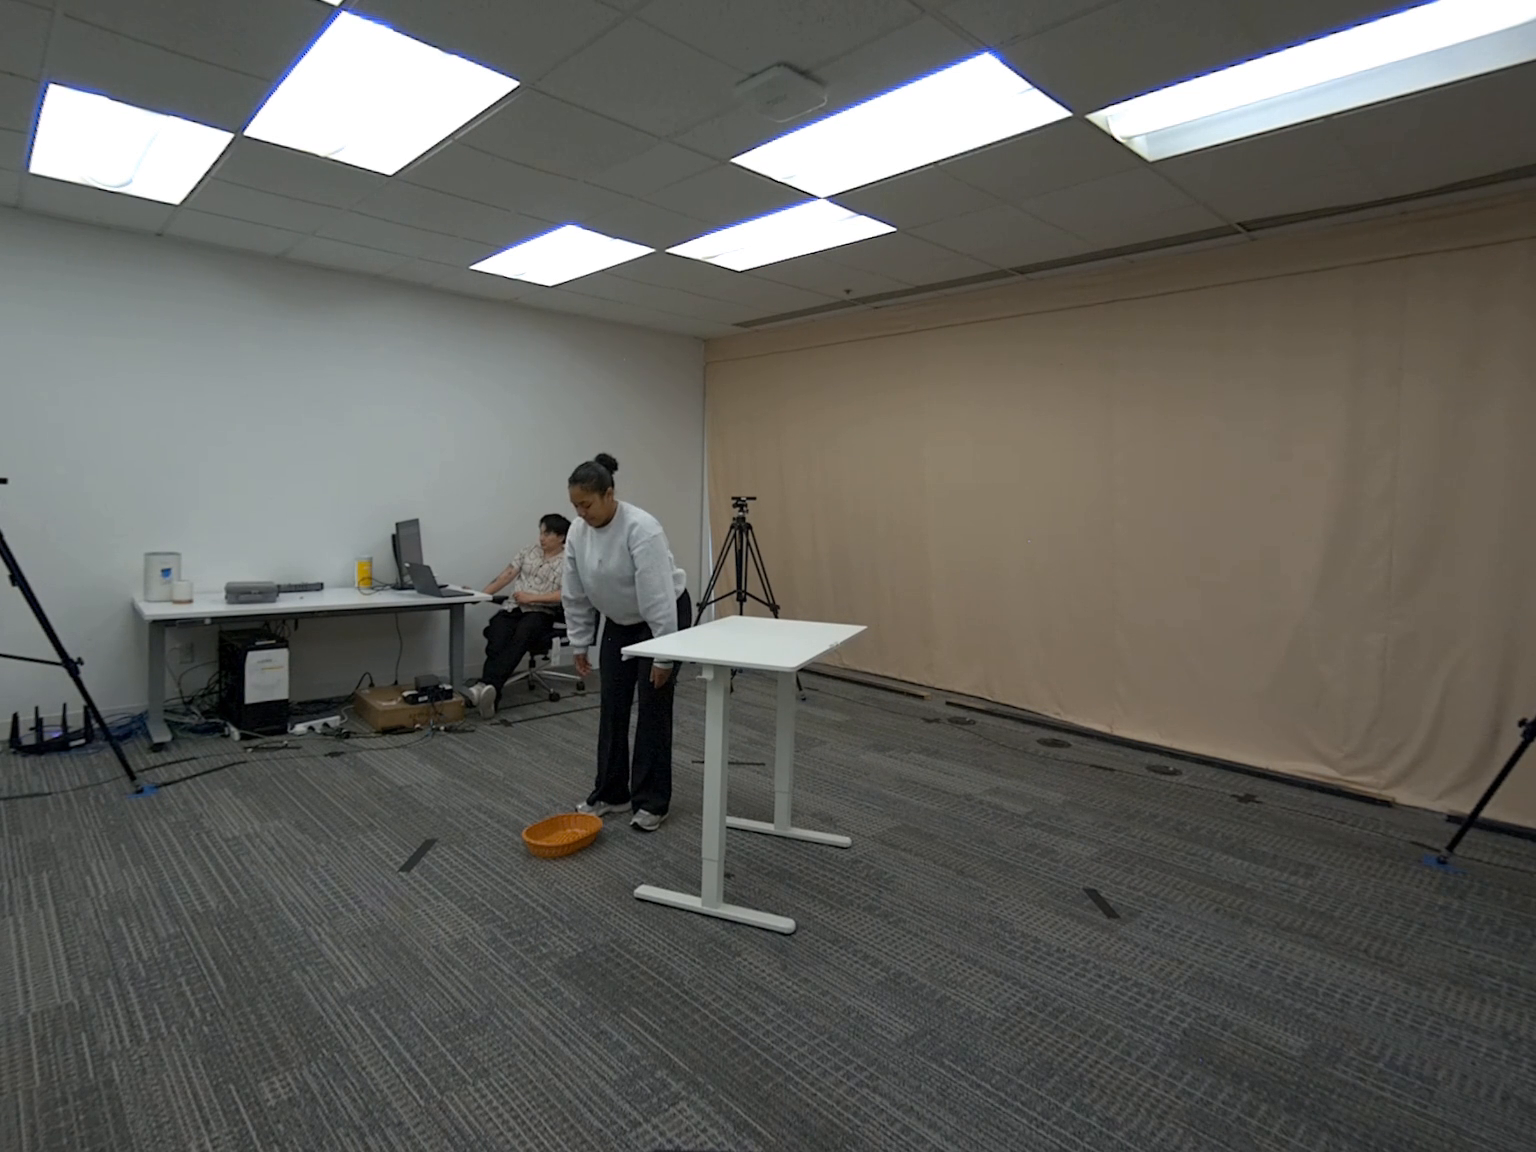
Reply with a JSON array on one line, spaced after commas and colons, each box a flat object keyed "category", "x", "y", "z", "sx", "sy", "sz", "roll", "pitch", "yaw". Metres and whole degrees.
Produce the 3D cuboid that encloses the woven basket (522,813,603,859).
[{"category": "woven basket", "x": -0.814, "y": 1.031, "z": 3.340, "sx": 0.258, "sy": 0.073, "sz": 0.343, "roll": 5, "pitch": 6, "yaw": 35}]
